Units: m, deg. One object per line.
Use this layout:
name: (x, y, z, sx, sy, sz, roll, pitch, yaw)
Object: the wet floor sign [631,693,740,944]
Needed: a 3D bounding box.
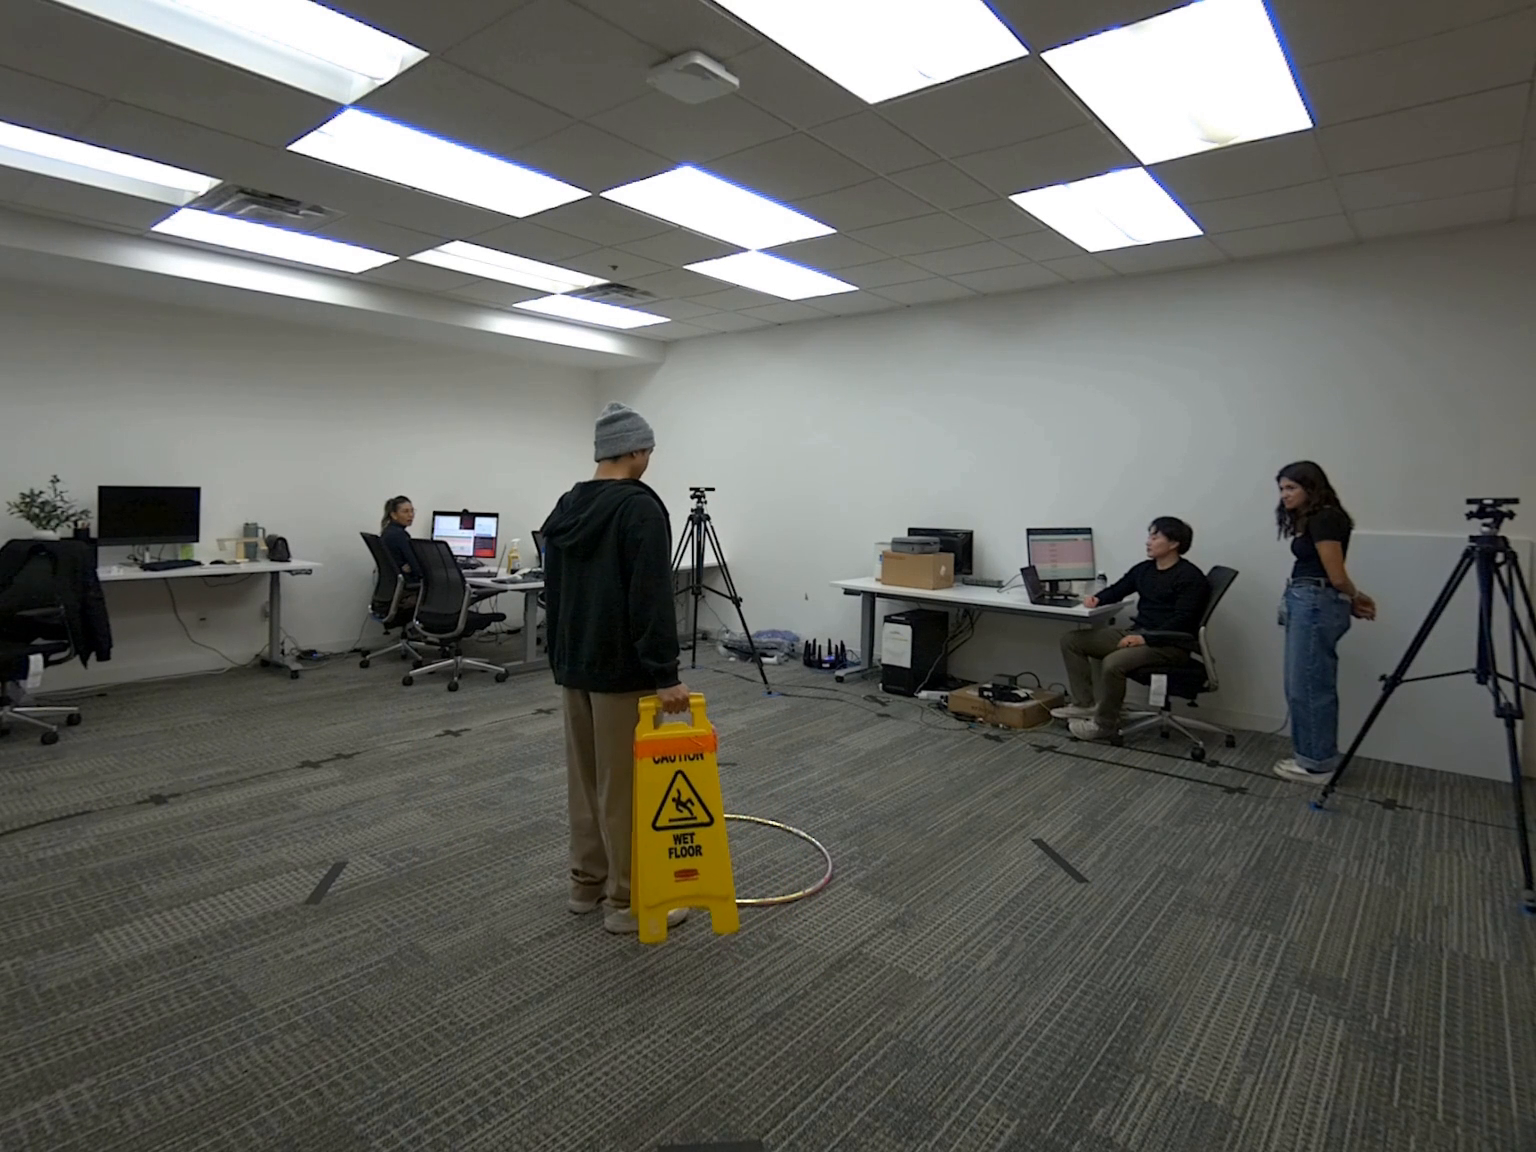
wet floor sign: (-0.266, 0.679, 2.497, 0.279, 0.651, 0.291, -1, -7, -12)
